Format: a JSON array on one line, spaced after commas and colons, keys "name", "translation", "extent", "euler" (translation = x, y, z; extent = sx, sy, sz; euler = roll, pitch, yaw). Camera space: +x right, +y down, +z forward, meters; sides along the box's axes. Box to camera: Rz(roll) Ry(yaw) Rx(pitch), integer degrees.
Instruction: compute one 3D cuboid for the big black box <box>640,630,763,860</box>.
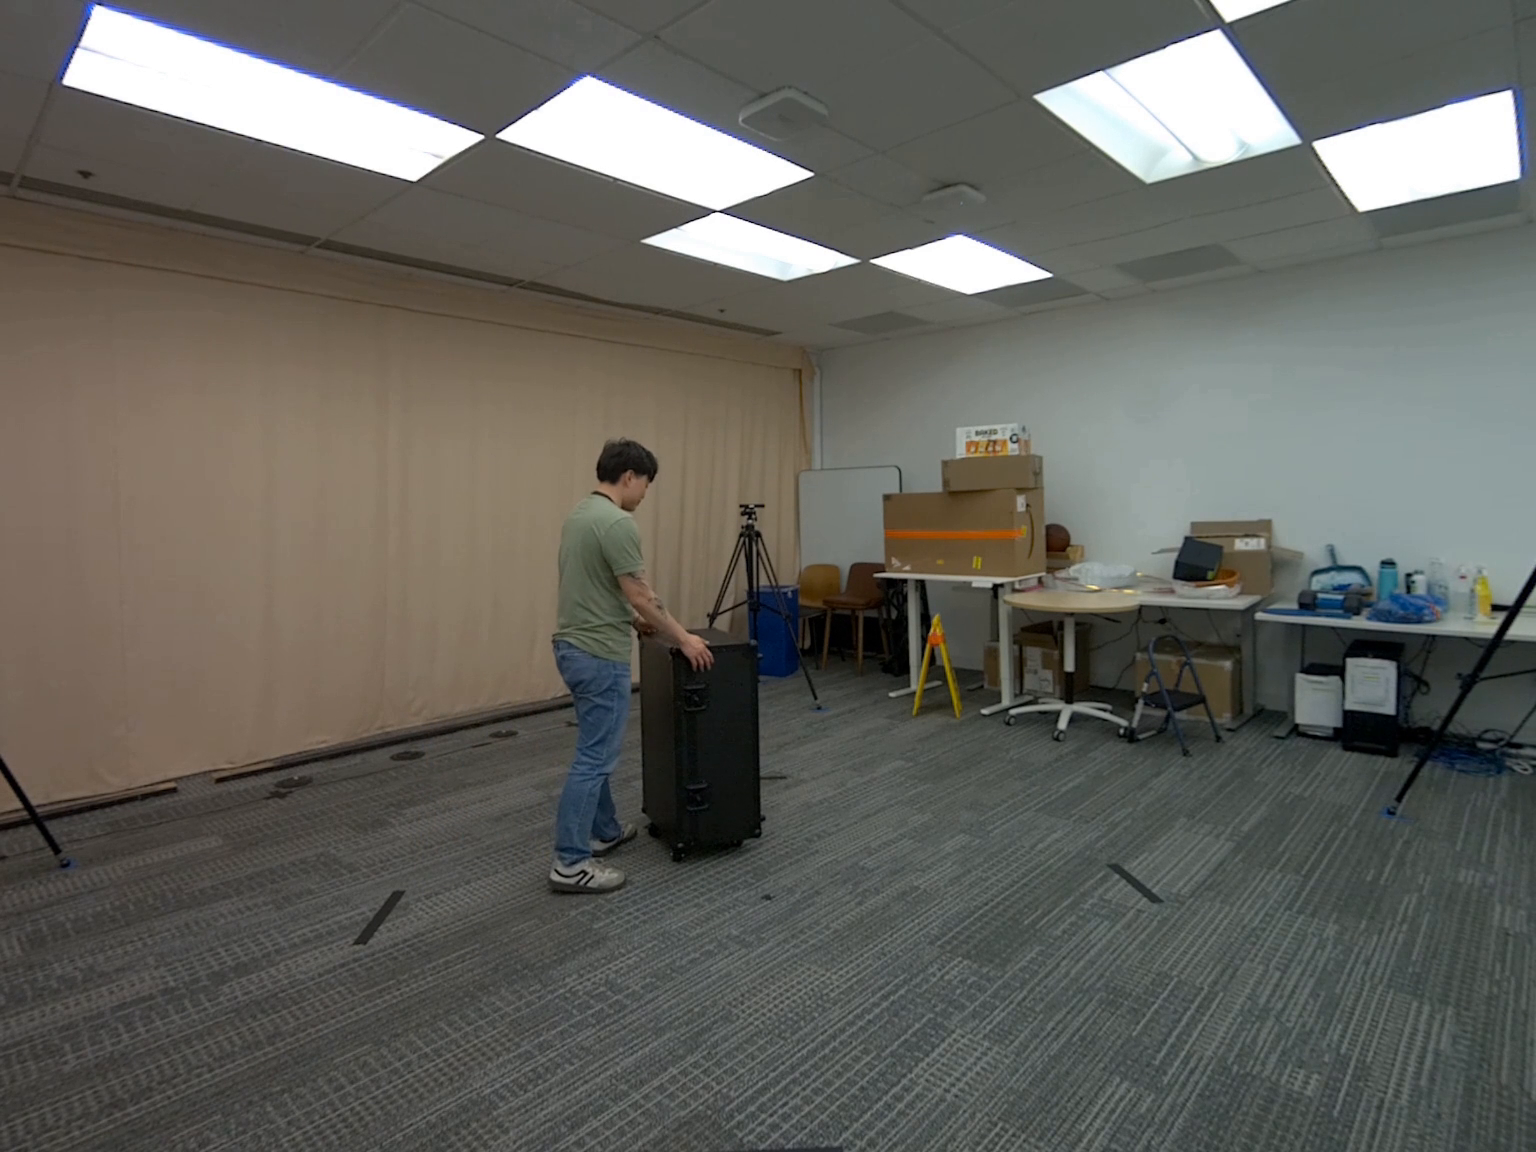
[{"name": "big black box", "translation": [-0.289, 0.674, 3.496], "extent": [0.387, 0.860, 0.534], "euler": [-2, 2, -24]}]
